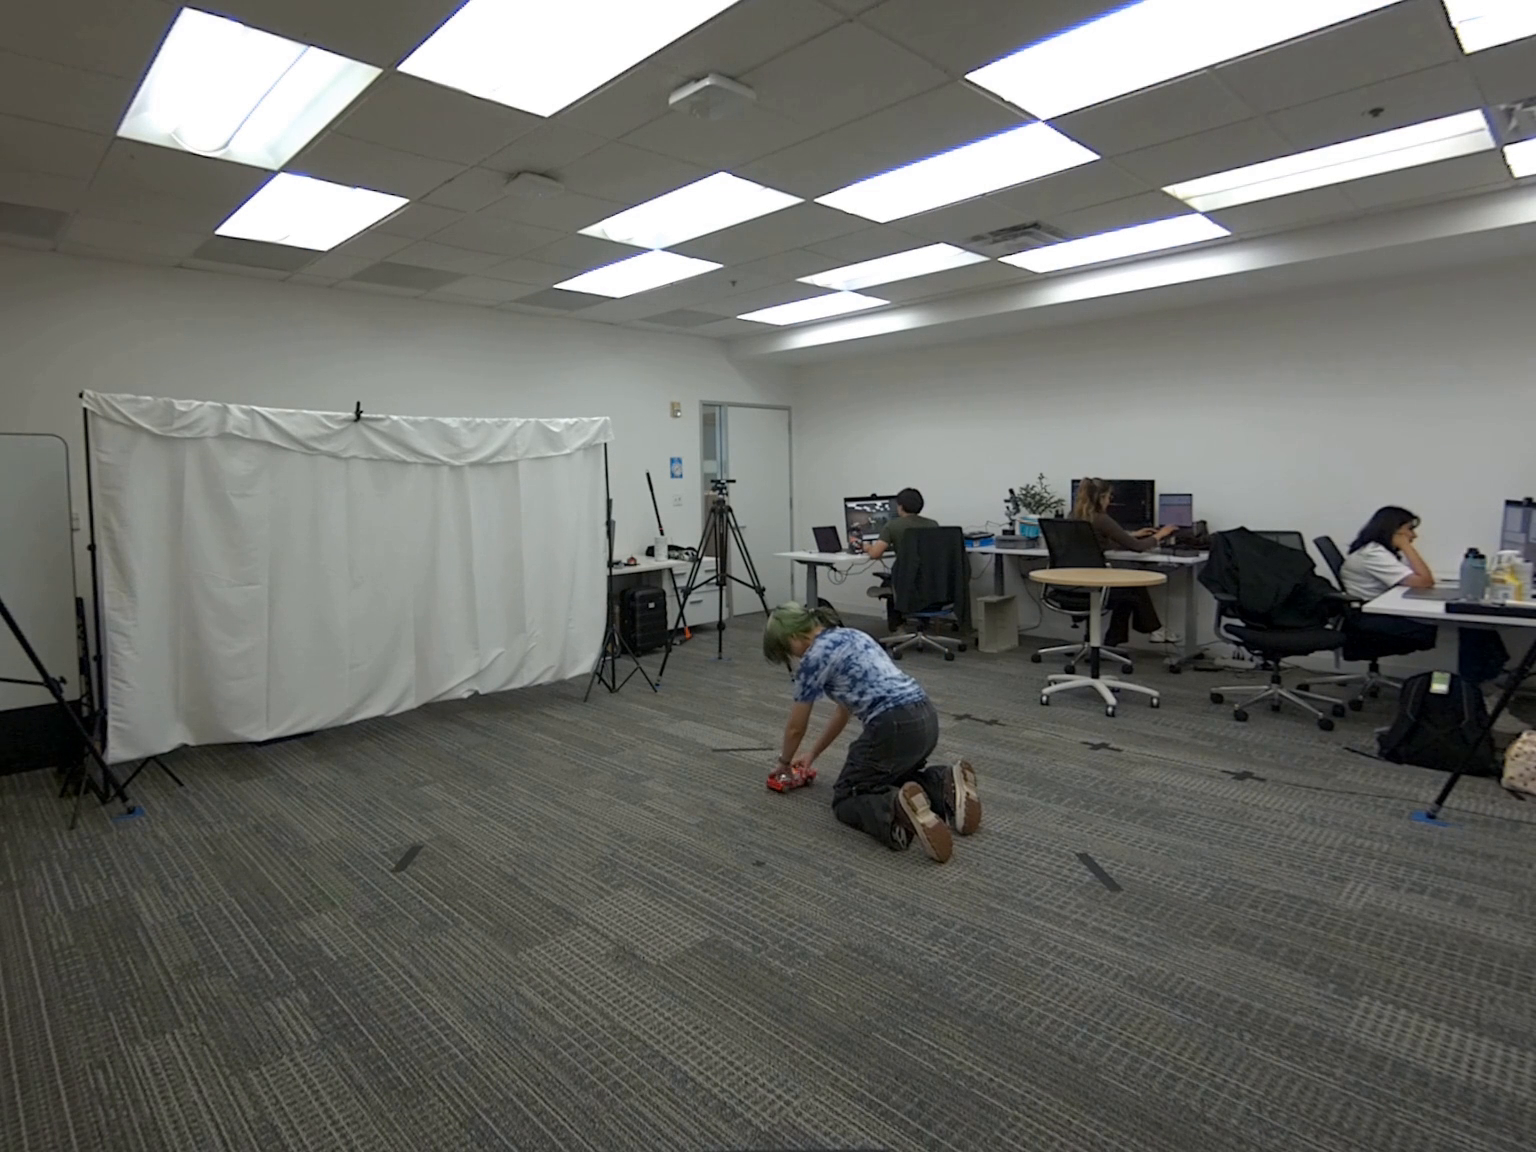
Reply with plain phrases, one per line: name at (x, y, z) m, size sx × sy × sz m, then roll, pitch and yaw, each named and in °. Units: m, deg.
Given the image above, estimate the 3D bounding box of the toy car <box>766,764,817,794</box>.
toy car at (0.118, 0.929, 3.892) m, size 0.250 × 0.082 × 0.134 m, roll -20°, pitch 13°, yaw -38°
